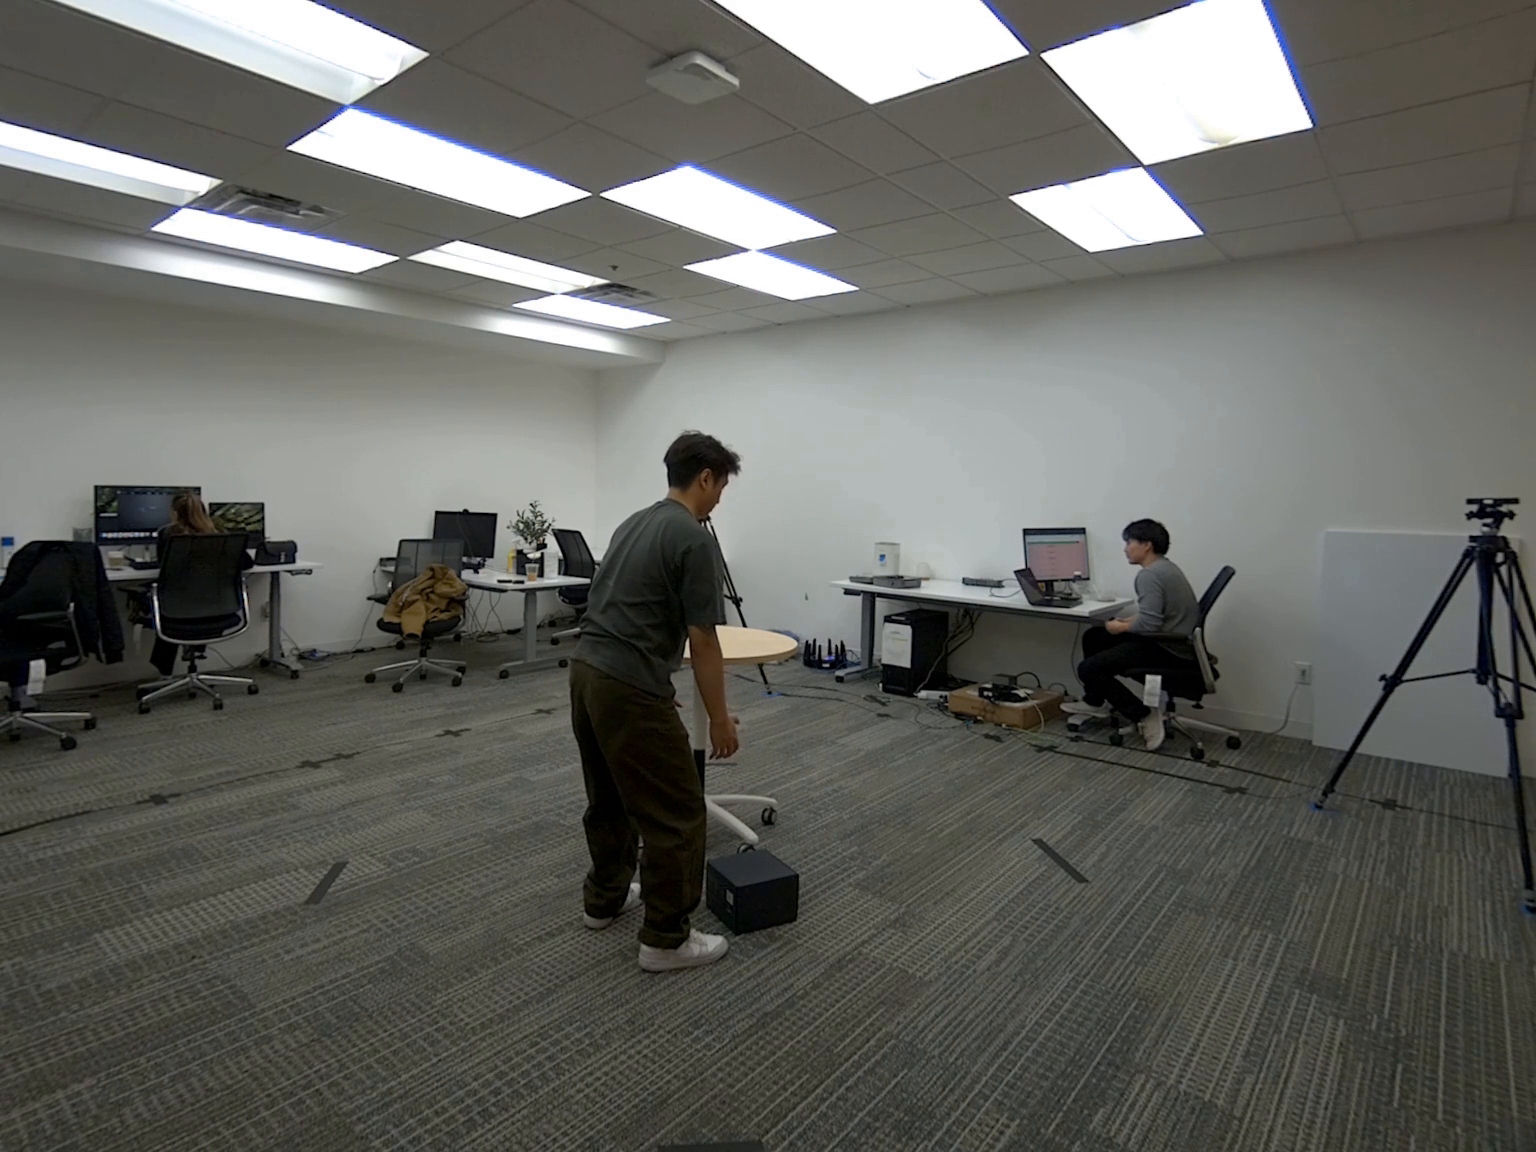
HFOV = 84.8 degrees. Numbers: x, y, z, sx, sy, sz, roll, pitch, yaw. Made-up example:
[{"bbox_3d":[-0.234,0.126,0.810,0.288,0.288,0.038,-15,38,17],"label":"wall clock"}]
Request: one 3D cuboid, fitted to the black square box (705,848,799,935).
[{"bbox_3d":[-0.062,1.019,2.776,0.222,0.155,0.223,-1,5,-30],"label":"black square box"}]
